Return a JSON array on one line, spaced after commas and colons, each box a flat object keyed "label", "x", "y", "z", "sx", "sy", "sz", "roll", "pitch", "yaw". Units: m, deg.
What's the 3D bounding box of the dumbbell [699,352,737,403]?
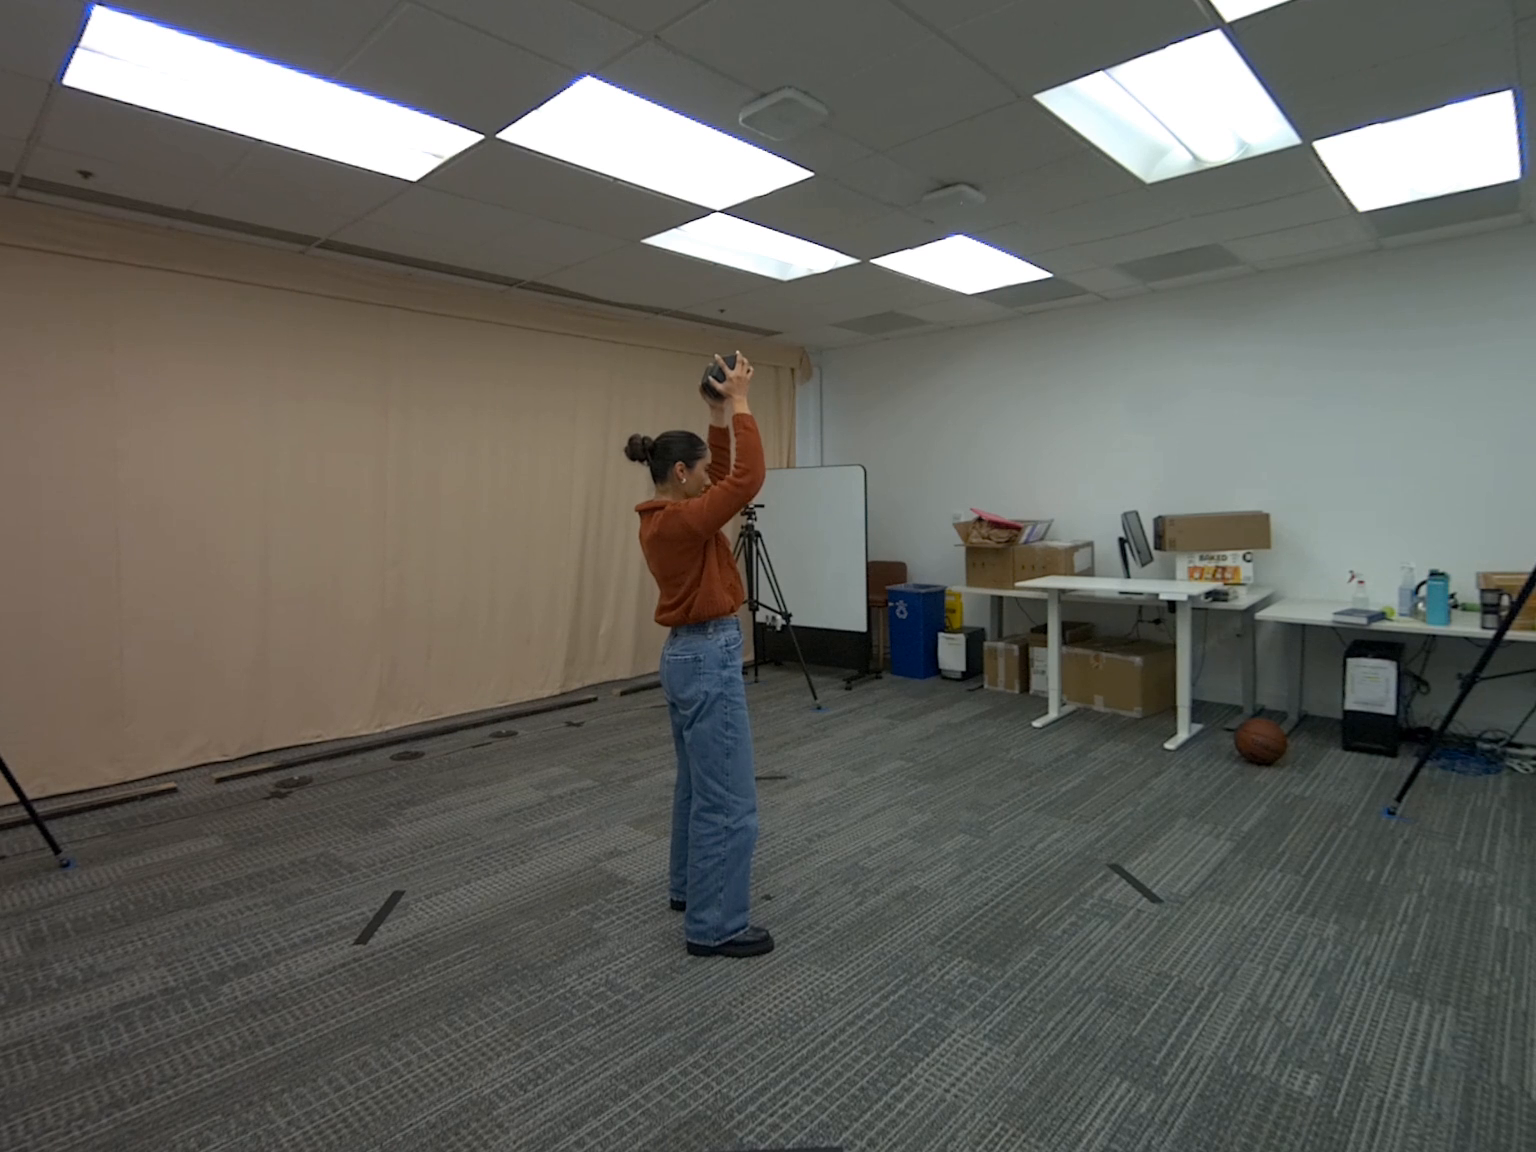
[{"label": "dumbbell", "x": -0.131, "y": -0.639, "z": 2.711, "sx": 0.108, "sy": 0.121, "sz": 0.297, "roll": -43, "pitch": 11, "yaw": -2}]
